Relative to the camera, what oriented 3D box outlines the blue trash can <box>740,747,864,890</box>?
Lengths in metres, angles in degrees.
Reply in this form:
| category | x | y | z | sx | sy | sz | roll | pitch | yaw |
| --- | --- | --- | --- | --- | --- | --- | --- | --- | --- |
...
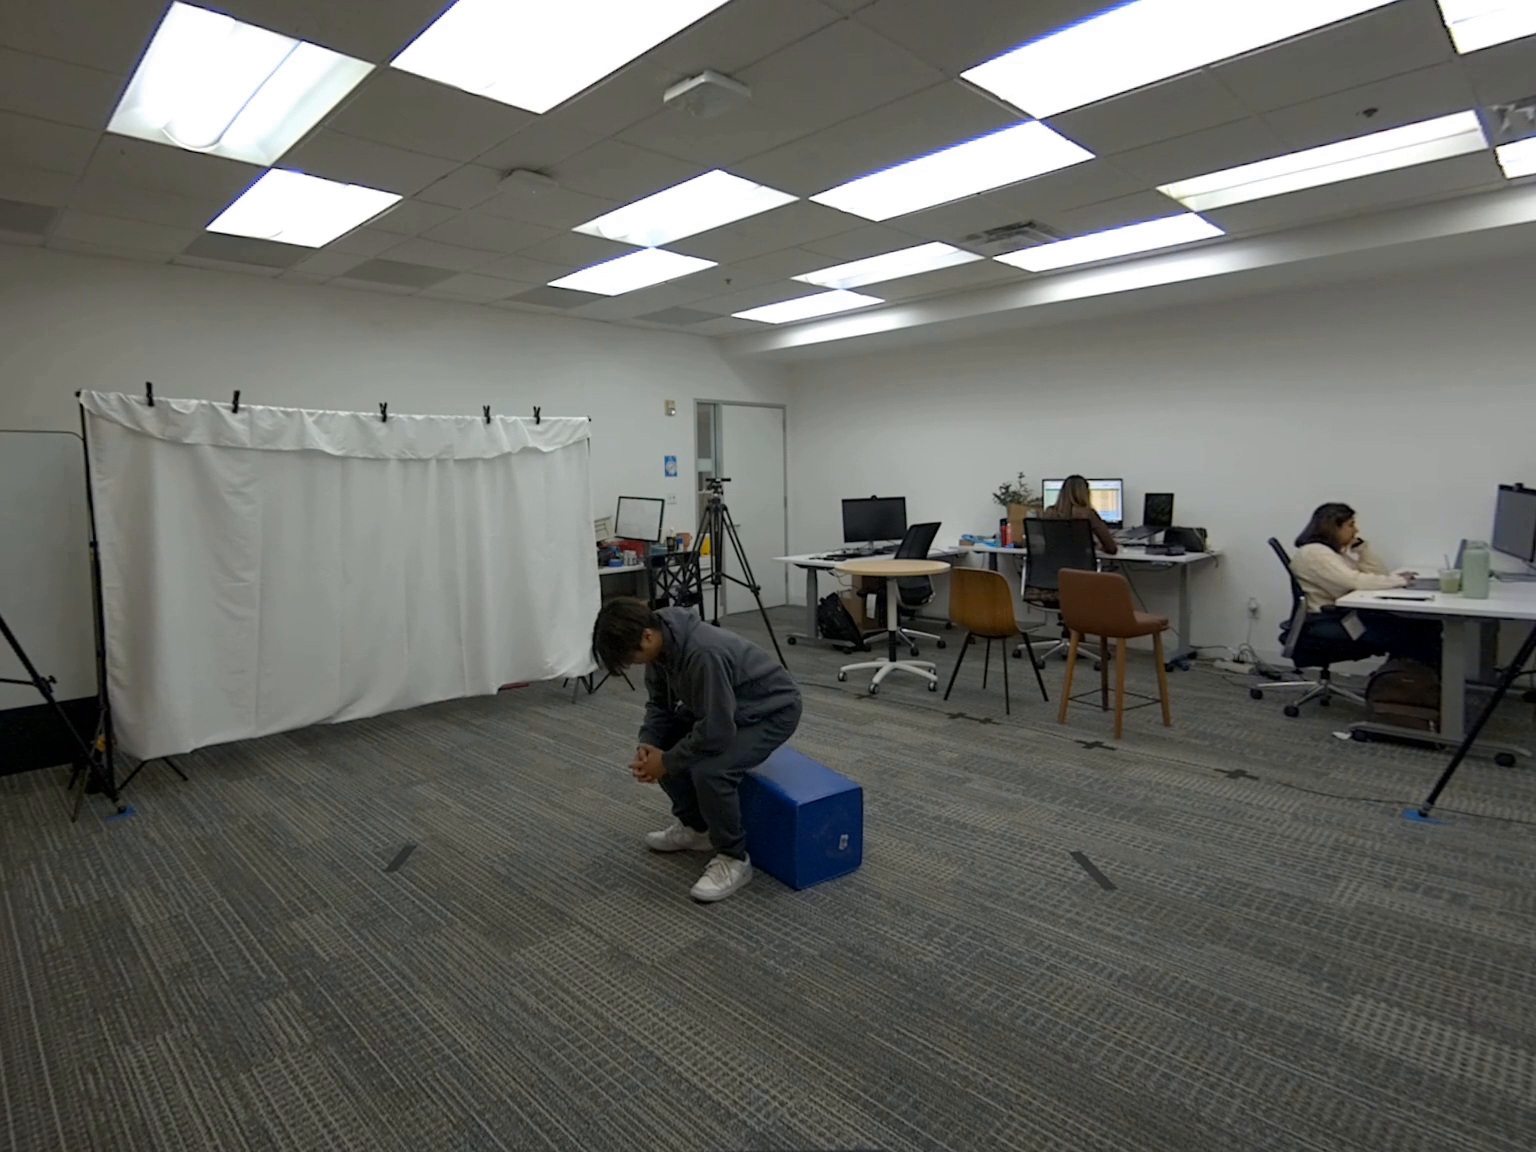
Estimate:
| category | x | y | z | sx | sy | sz | roll | pitch | yaw |
| --- | --- | --- | --- | --- | --- | --- | --- | --- | --- |
| blue trash can | 0.014 | 0.855 | 3.248 | 0.365 | 0.376 | 0.736 | -4 | 9 | -35 |
